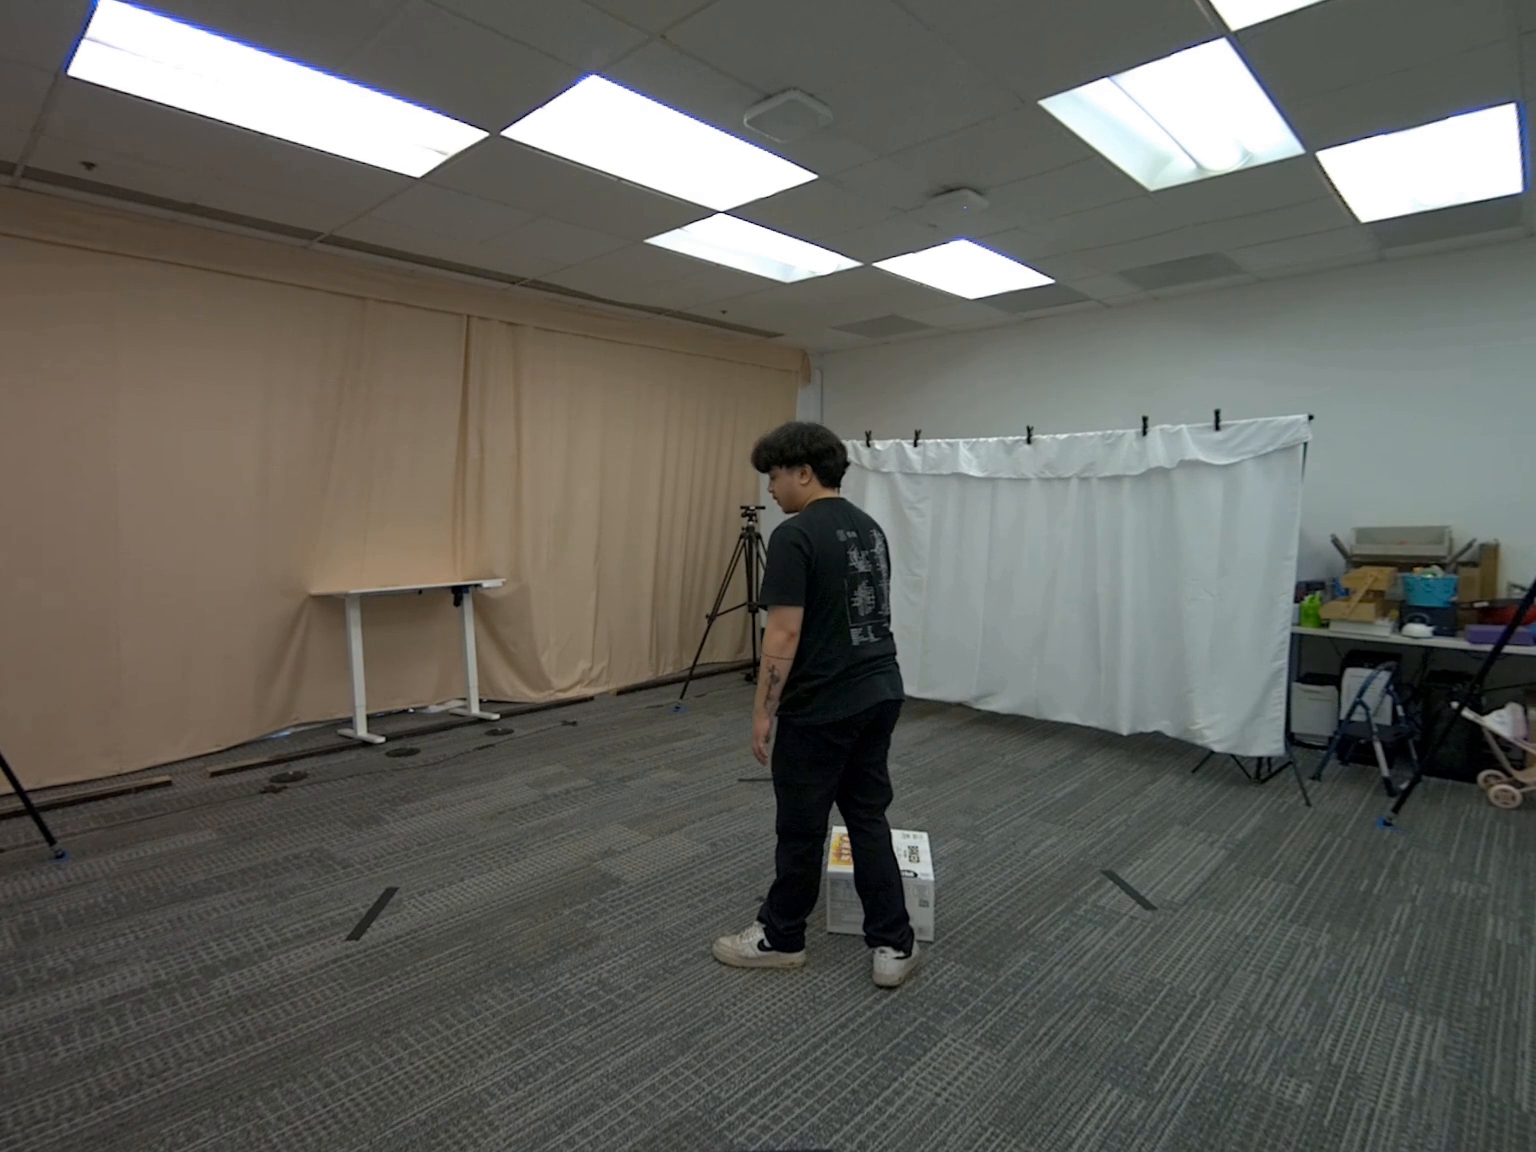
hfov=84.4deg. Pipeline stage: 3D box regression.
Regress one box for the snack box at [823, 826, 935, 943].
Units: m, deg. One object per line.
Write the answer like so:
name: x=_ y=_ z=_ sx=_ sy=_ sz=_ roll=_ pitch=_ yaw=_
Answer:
snack box: x=0.392 y=1.047 z=2.900 sx=0.344 sy=0.205 sz=0.402 roll=0 pitch=4 yaw=9
